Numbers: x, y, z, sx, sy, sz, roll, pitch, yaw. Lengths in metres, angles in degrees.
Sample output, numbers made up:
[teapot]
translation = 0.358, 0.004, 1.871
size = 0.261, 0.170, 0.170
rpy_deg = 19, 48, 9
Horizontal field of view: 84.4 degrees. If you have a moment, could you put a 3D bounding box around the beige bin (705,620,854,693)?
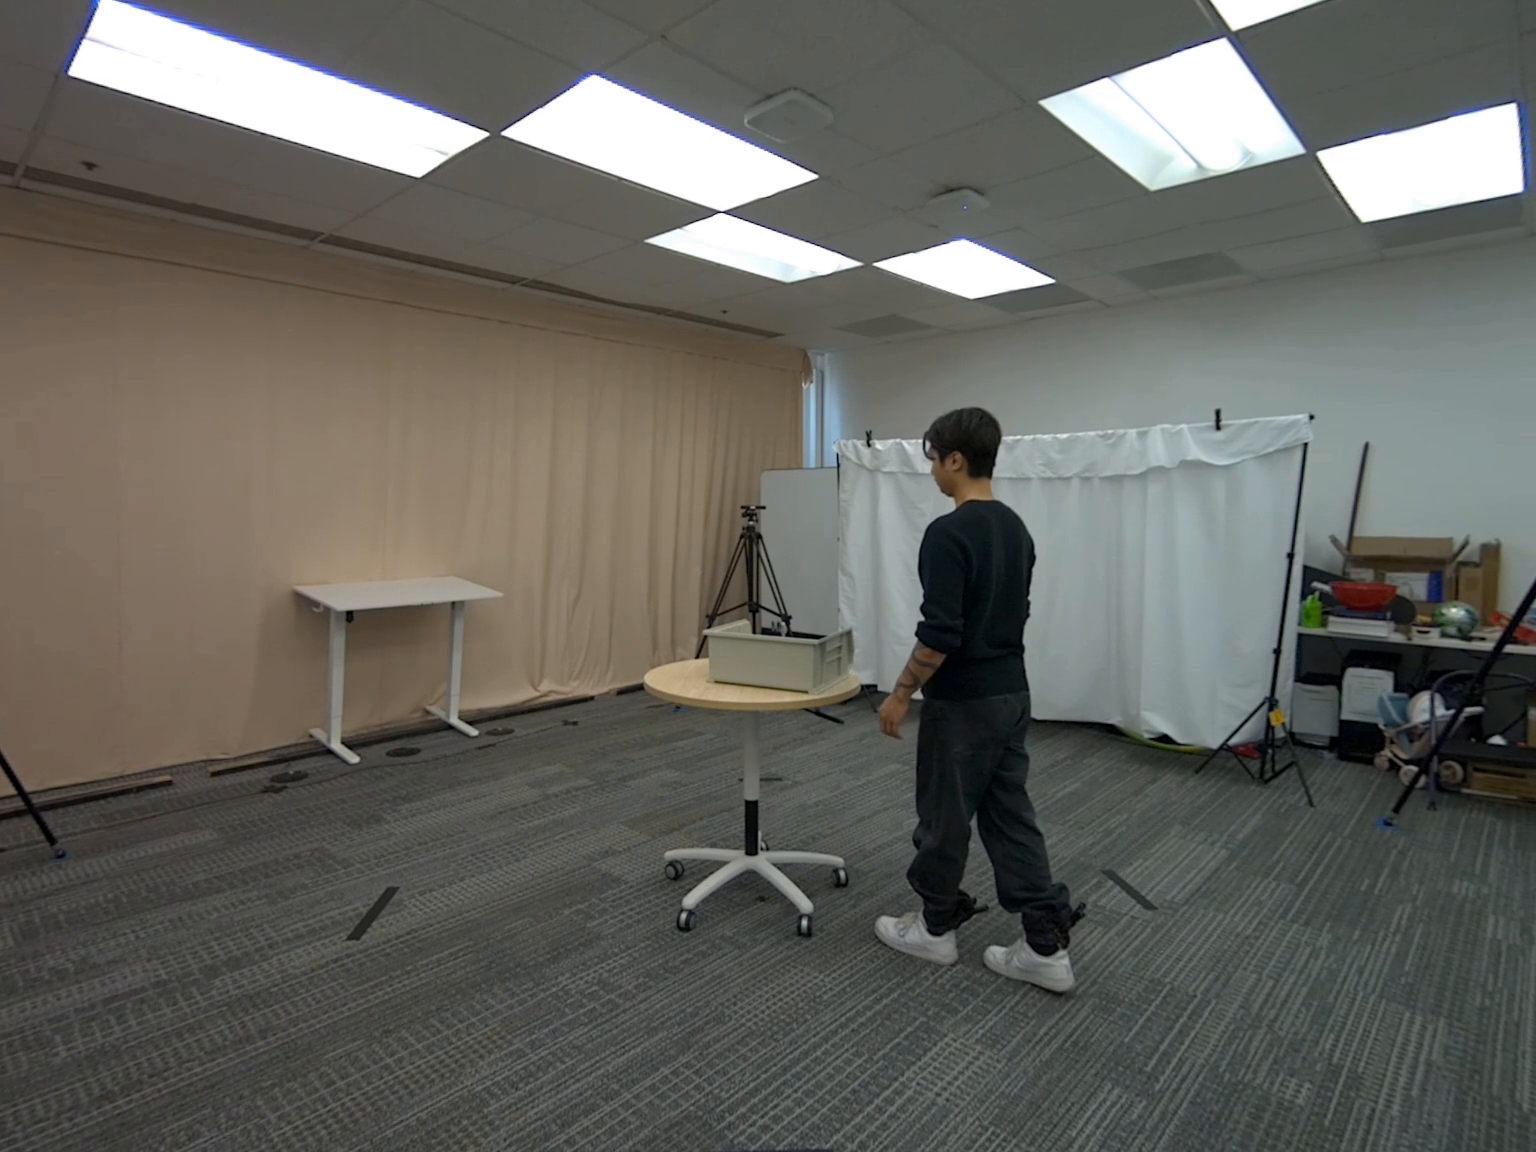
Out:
[beige bin]
translation = 0.047, 0.273, 2.954
size = 0.434, 0.188, 0.369
rpy_deg = 3, 7, 26
